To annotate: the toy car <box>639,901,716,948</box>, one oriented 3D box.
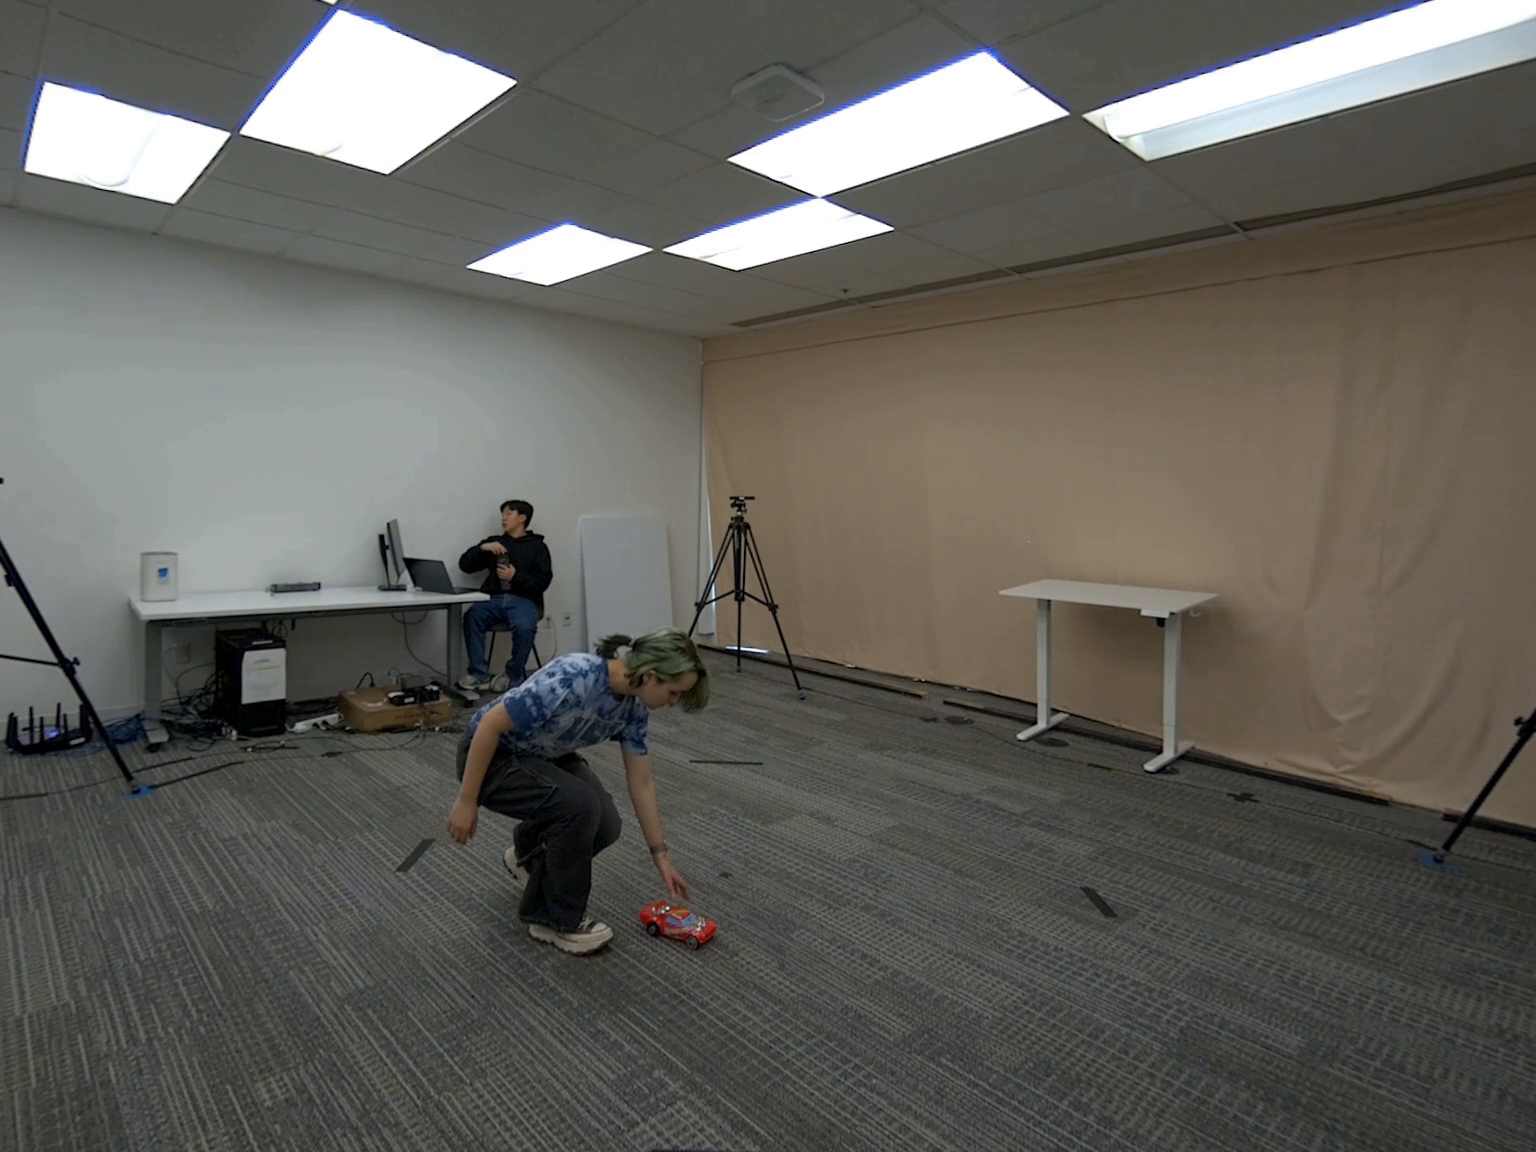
[{"bbox_3d":[-0.302,1.111,2.668,0.261,0.083,0.128,16,10,27],"label":"toy car"}]
